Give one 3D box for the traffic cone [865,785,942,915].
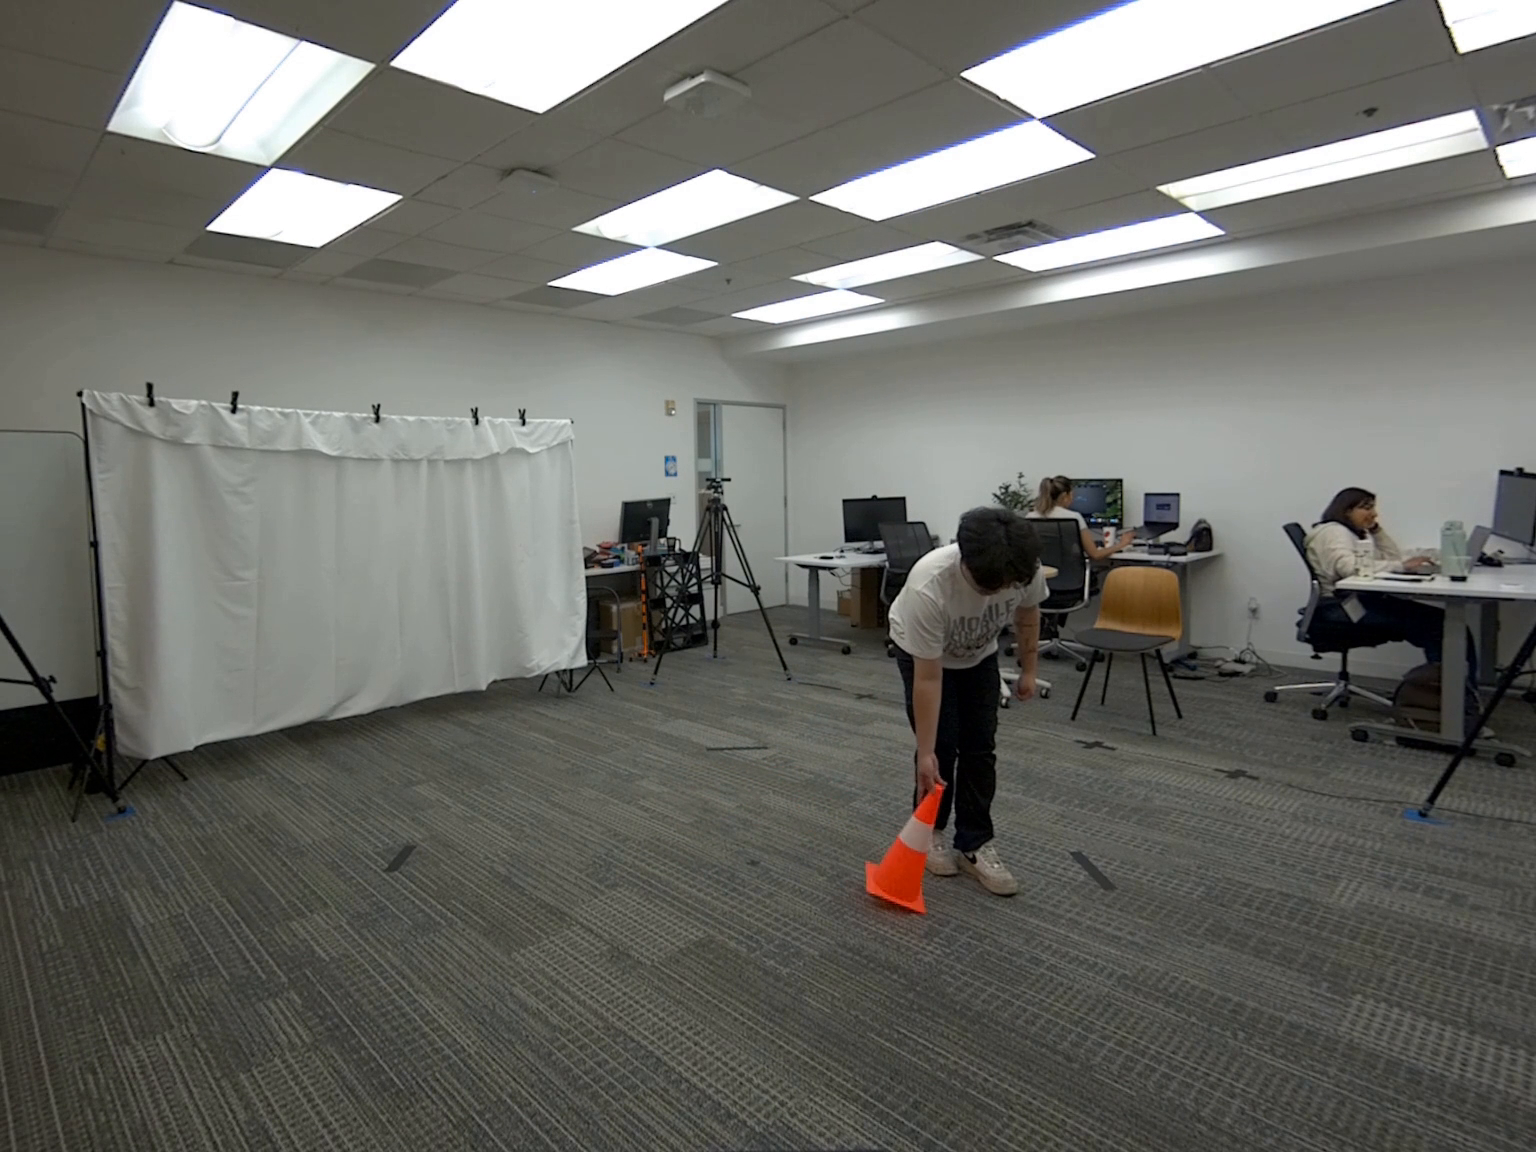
[{"bbox_3d":[0.487,0.863,2.795,0.205,0.381,0.204,19,11,7],"label":"traffic cone"}]
